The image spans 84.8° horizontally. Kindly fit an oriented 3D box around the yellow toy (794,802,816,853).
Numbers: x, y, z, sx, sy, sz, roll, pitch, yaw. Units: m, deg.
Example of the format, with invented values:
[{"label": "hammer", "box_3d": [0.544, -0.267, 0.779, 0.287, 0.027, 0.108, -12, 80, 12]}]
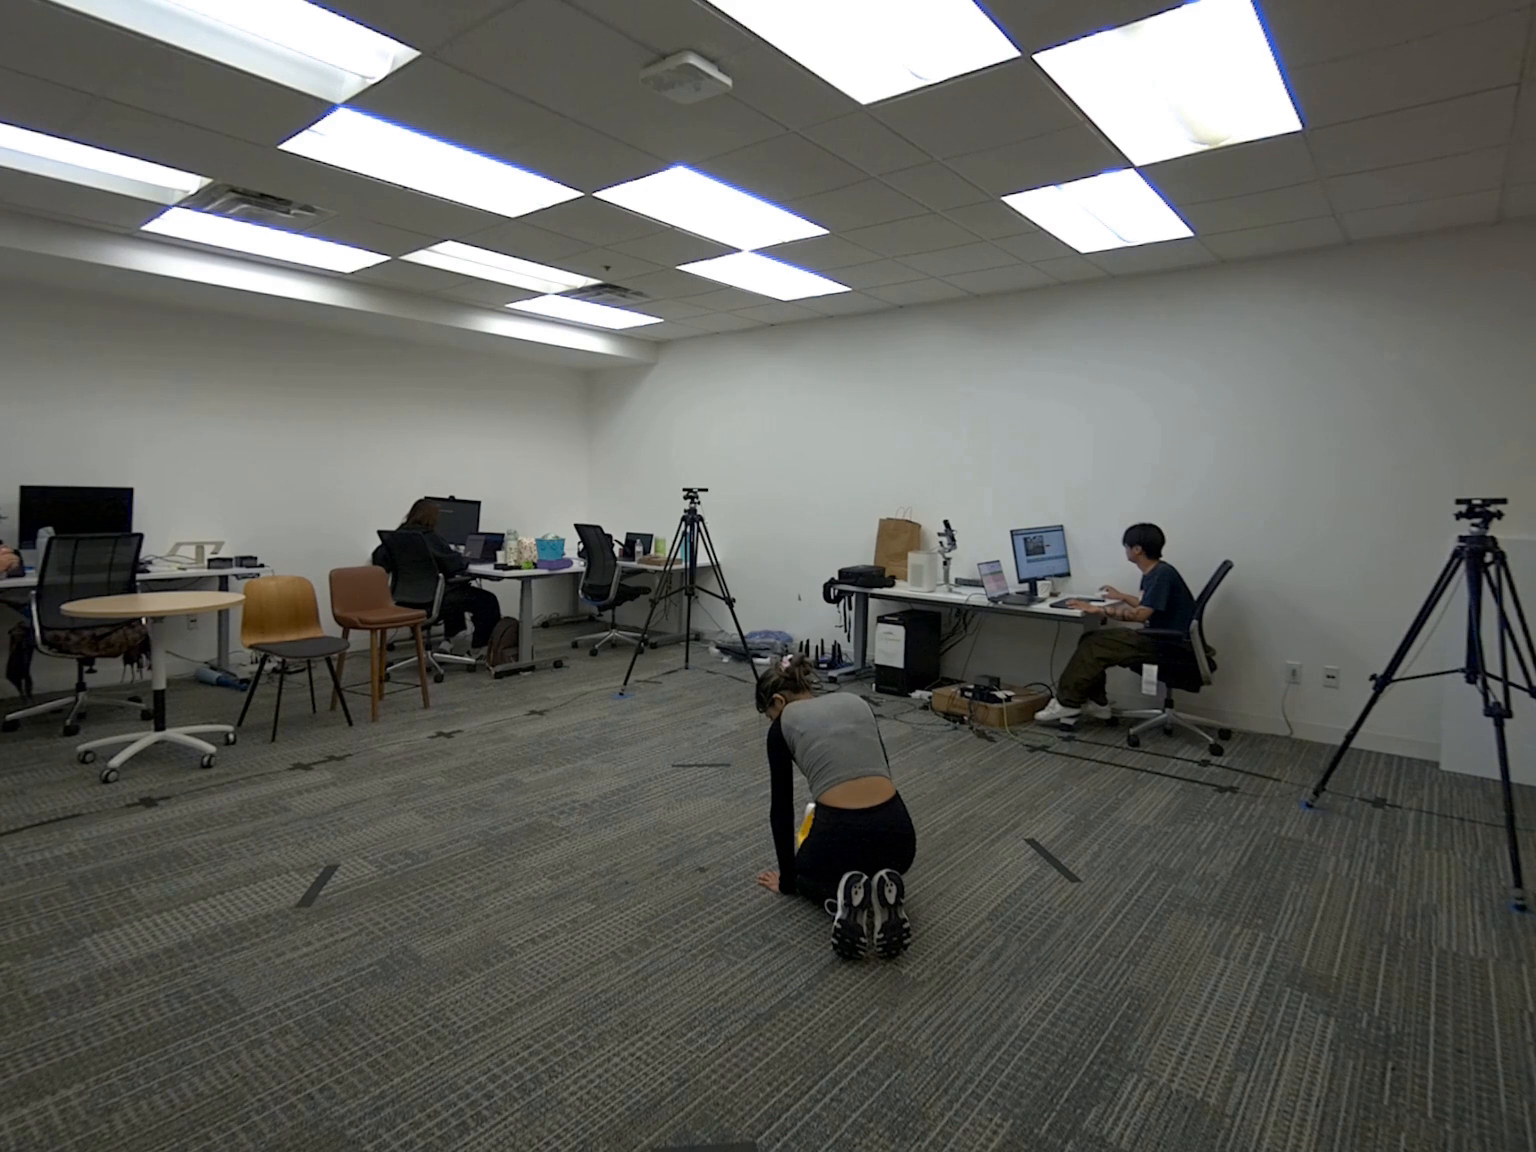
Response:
[{"label": "yellow toy", "box_3d": [0.211, 0.937, 3.329, 0.205, 0.230, 0.193, 0, 5, 1]}]
